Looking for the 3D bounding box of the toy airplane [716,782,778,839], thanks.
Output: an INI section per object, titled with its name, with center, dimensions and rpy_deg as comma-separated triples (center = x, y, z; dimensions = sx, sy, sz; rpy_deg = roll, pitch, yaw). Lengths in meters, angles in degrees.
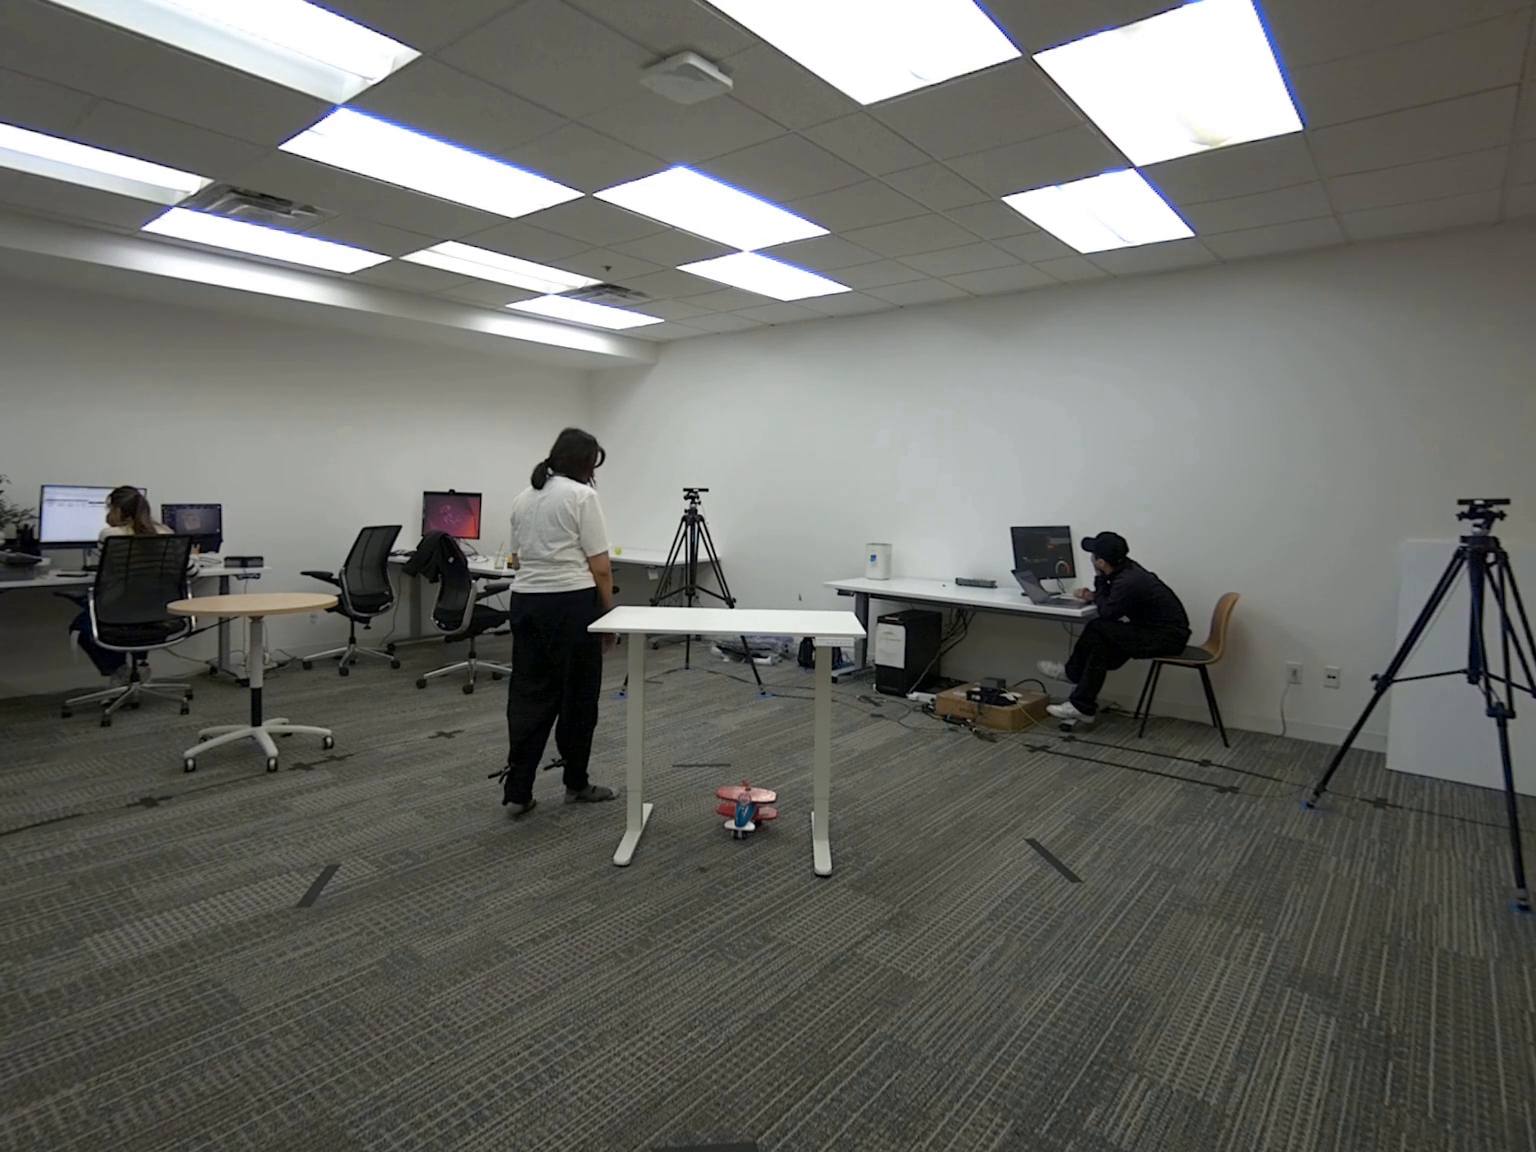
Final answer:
[toy airplane]
center = -0.086, 0.963, 3.477
dimensions = 0.247, 0.156, 0.264
rpy_deg = 0, 4, -16
